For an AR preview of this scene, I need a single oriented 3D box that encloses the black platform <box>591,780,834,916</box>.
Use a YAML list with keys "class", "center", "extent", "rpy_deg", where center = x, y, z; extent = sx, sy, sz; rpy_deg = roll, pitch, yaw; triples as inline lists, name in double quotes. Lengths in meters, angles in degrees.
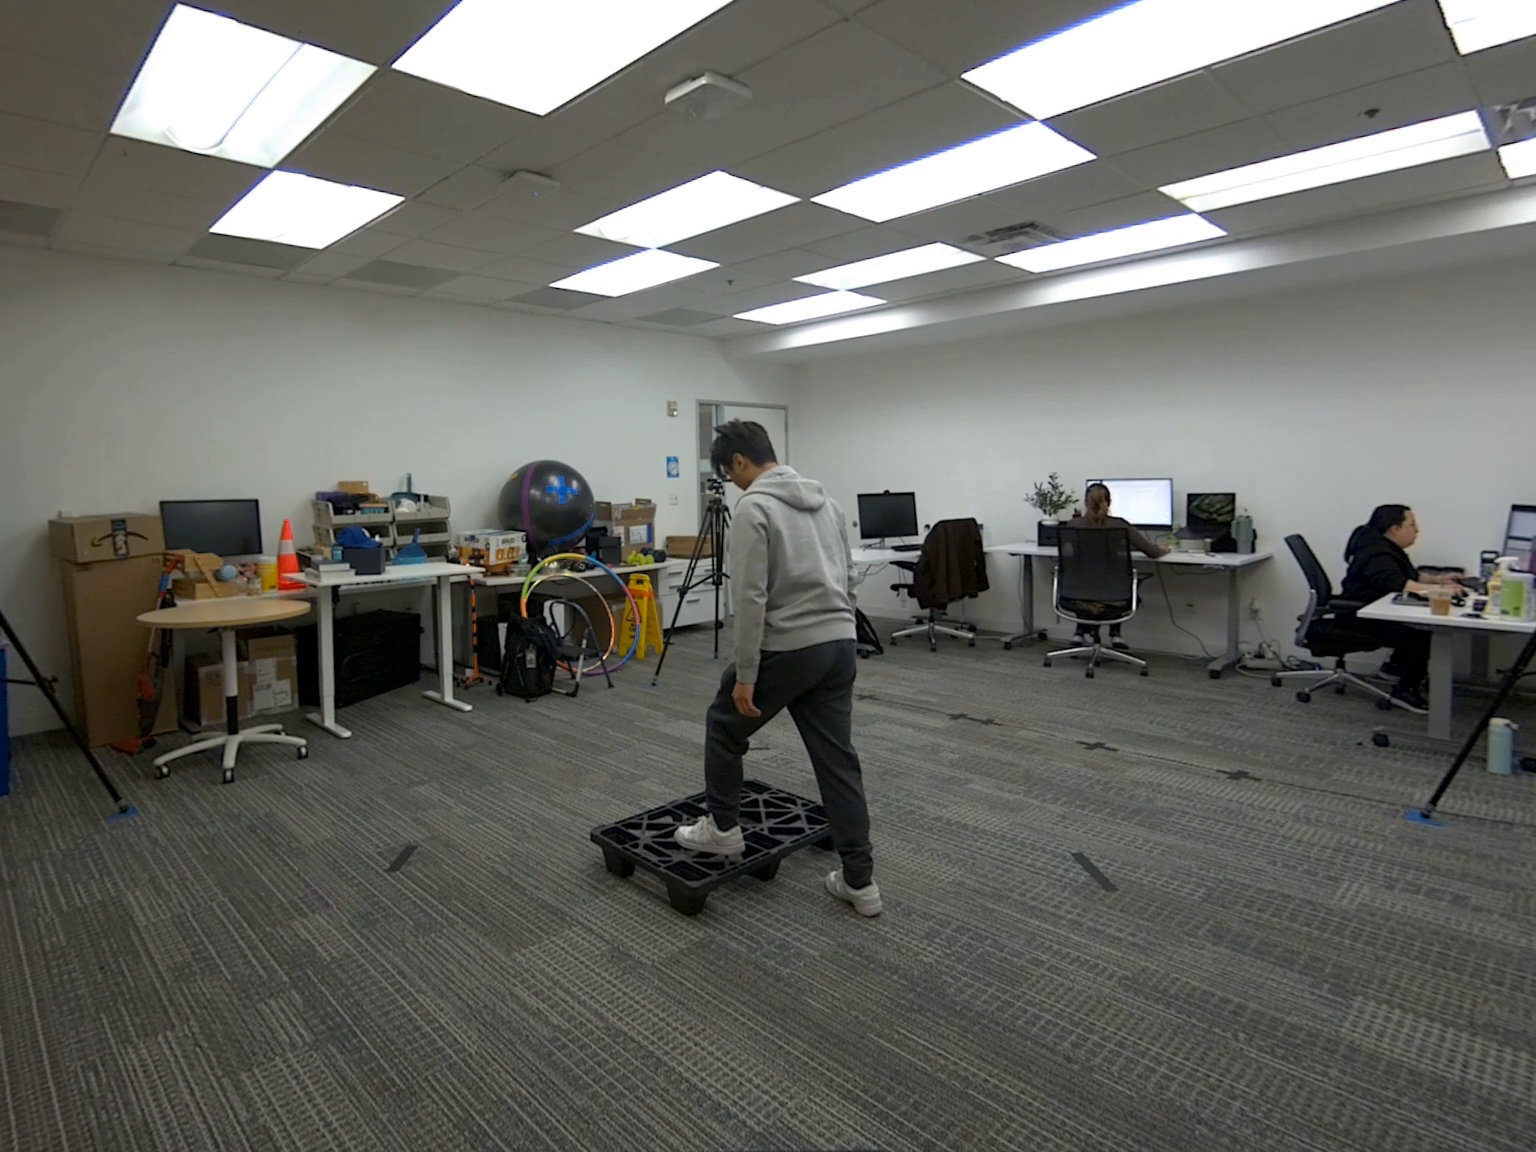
- class: "black platform"
  center: [-0.152, 0.976, 3.147]
  extent: [0.785, 0.142, 0.624]
  rpy_deg: [-7, 10, -44]
